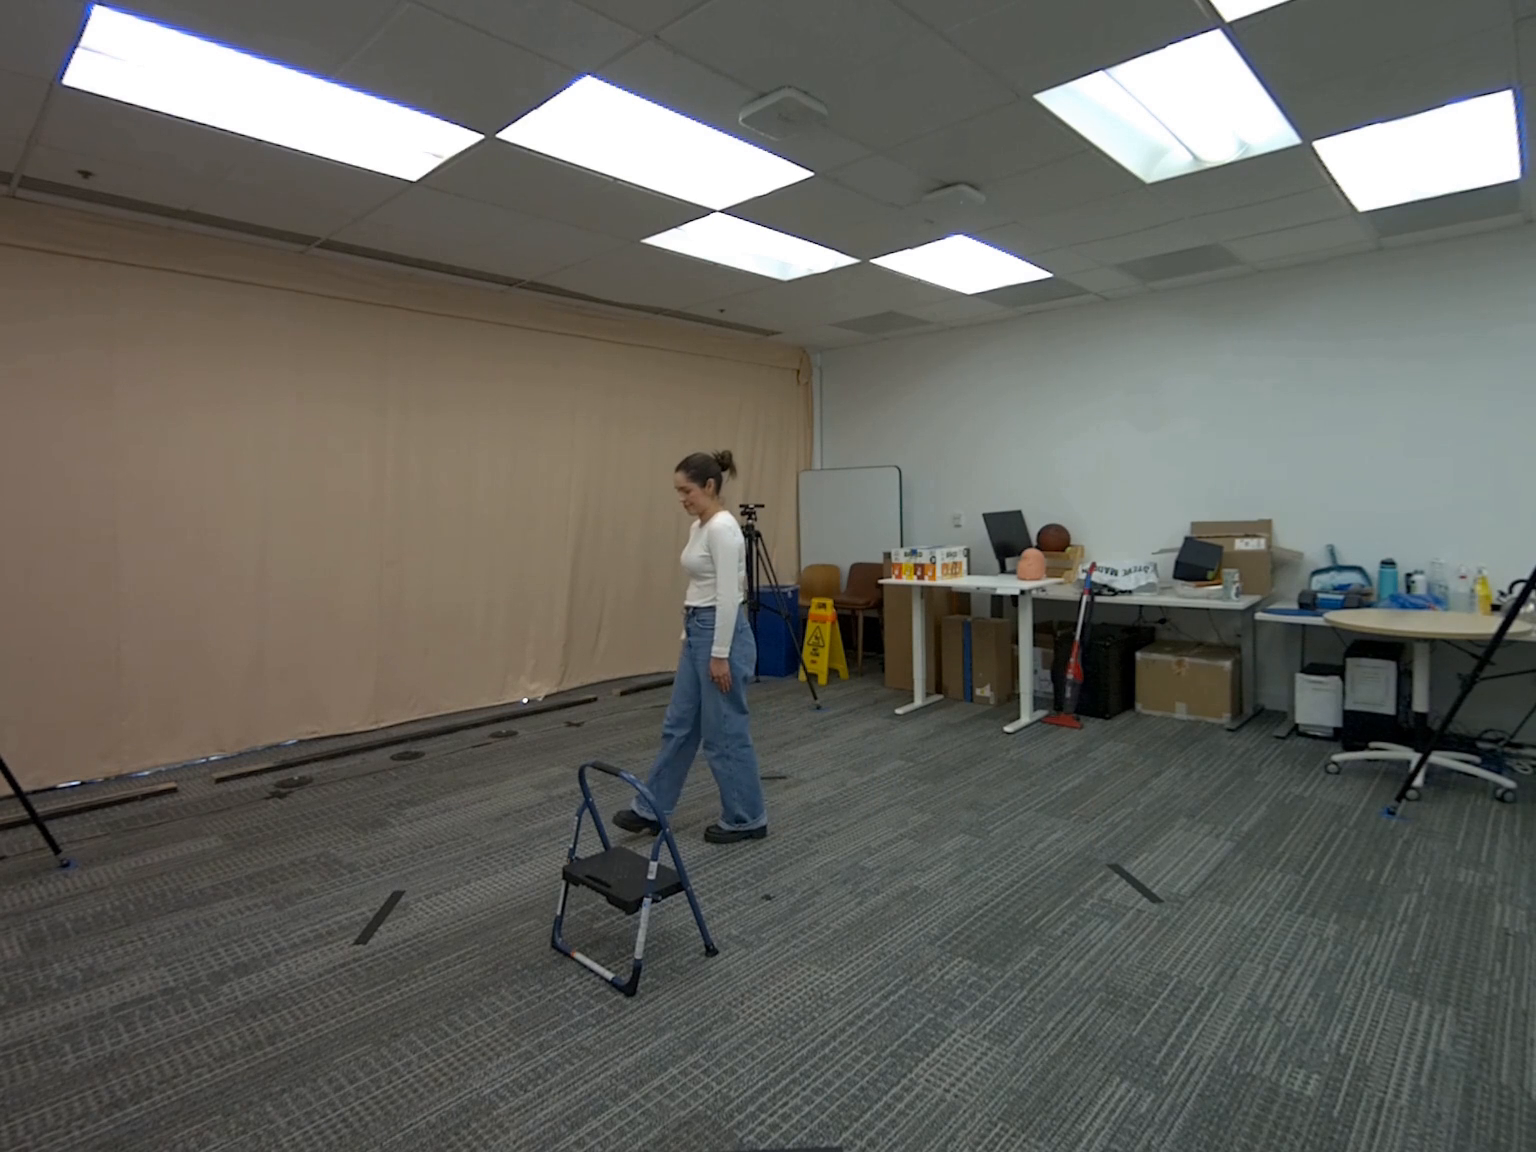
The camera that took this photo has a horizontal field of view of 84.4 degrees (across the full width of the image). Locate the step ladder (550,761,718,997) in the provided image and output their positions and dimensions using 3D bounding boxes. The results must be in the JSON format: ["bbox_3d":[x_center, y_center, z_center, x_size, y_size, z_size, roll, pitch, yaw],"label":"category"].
[{"bbox_3d":[-0.431,0.872,2.636,0.445,0.605,0.339,2,5,44],"label":"step ladder"}]
